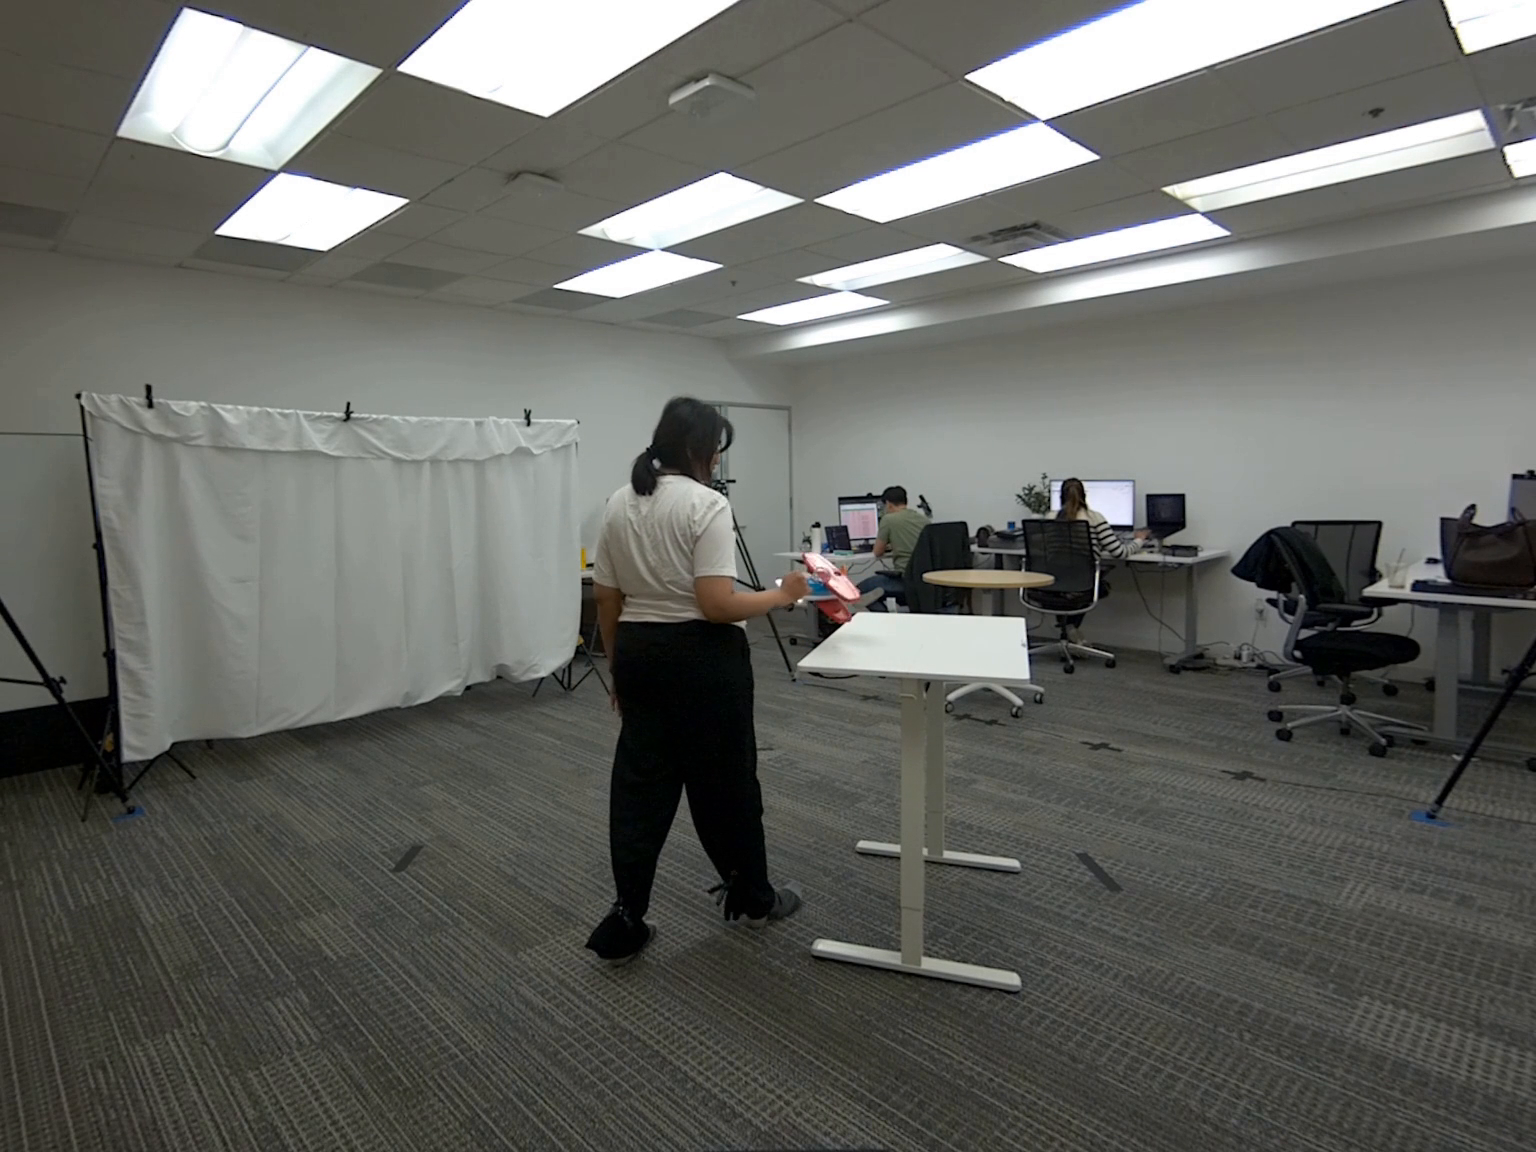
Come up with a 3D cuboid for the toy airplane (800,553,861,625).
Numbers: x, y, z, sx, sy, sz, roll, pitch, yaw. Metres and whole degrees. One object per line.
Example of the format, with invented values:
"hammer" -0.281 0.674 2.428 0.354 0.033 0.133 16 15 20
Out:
"toy airplane" 0.163 0.059 2.674 0.256 0.155 0.255 36 20 14
